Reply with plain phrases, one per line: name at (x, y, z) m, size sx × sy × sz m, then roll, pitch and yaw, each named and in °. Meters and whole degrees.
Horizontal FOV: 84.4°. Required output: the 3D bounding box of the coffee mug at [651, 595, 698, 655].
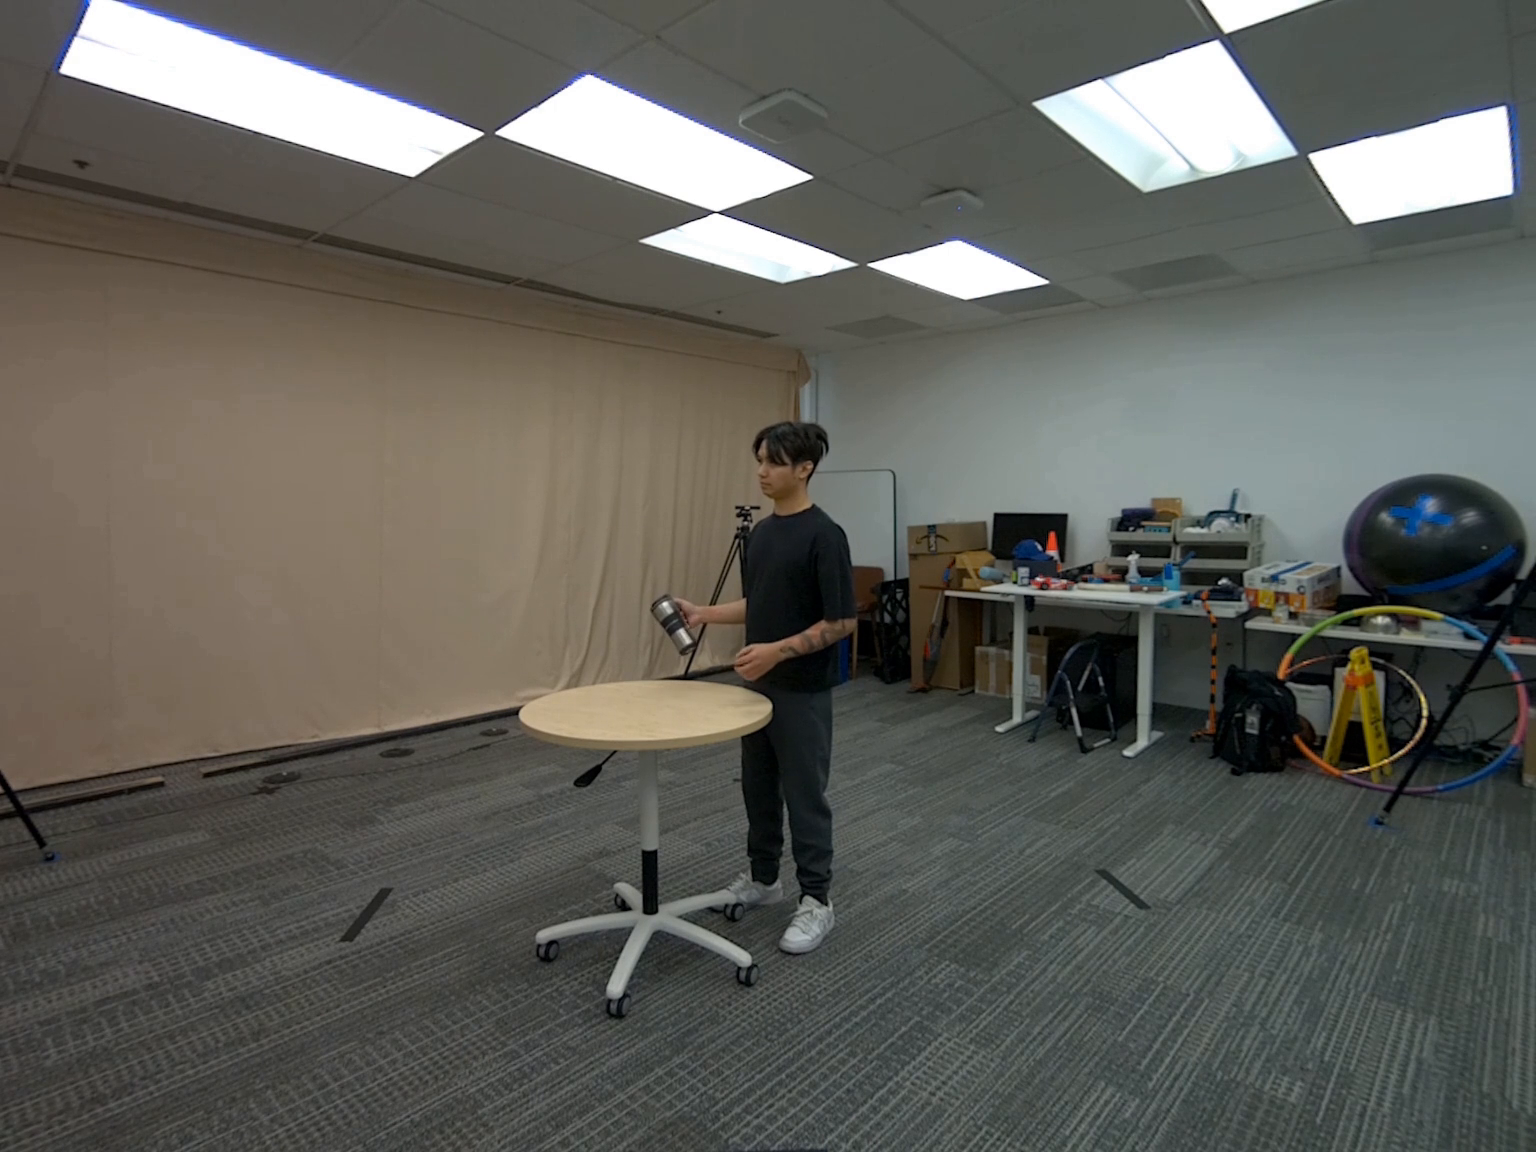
coffee mug at (-0.293, 0.162, 2.852) m, size 0.088 × 0.206 × 0.119 m, roll -46°, pitch -16°, yaw 33°
